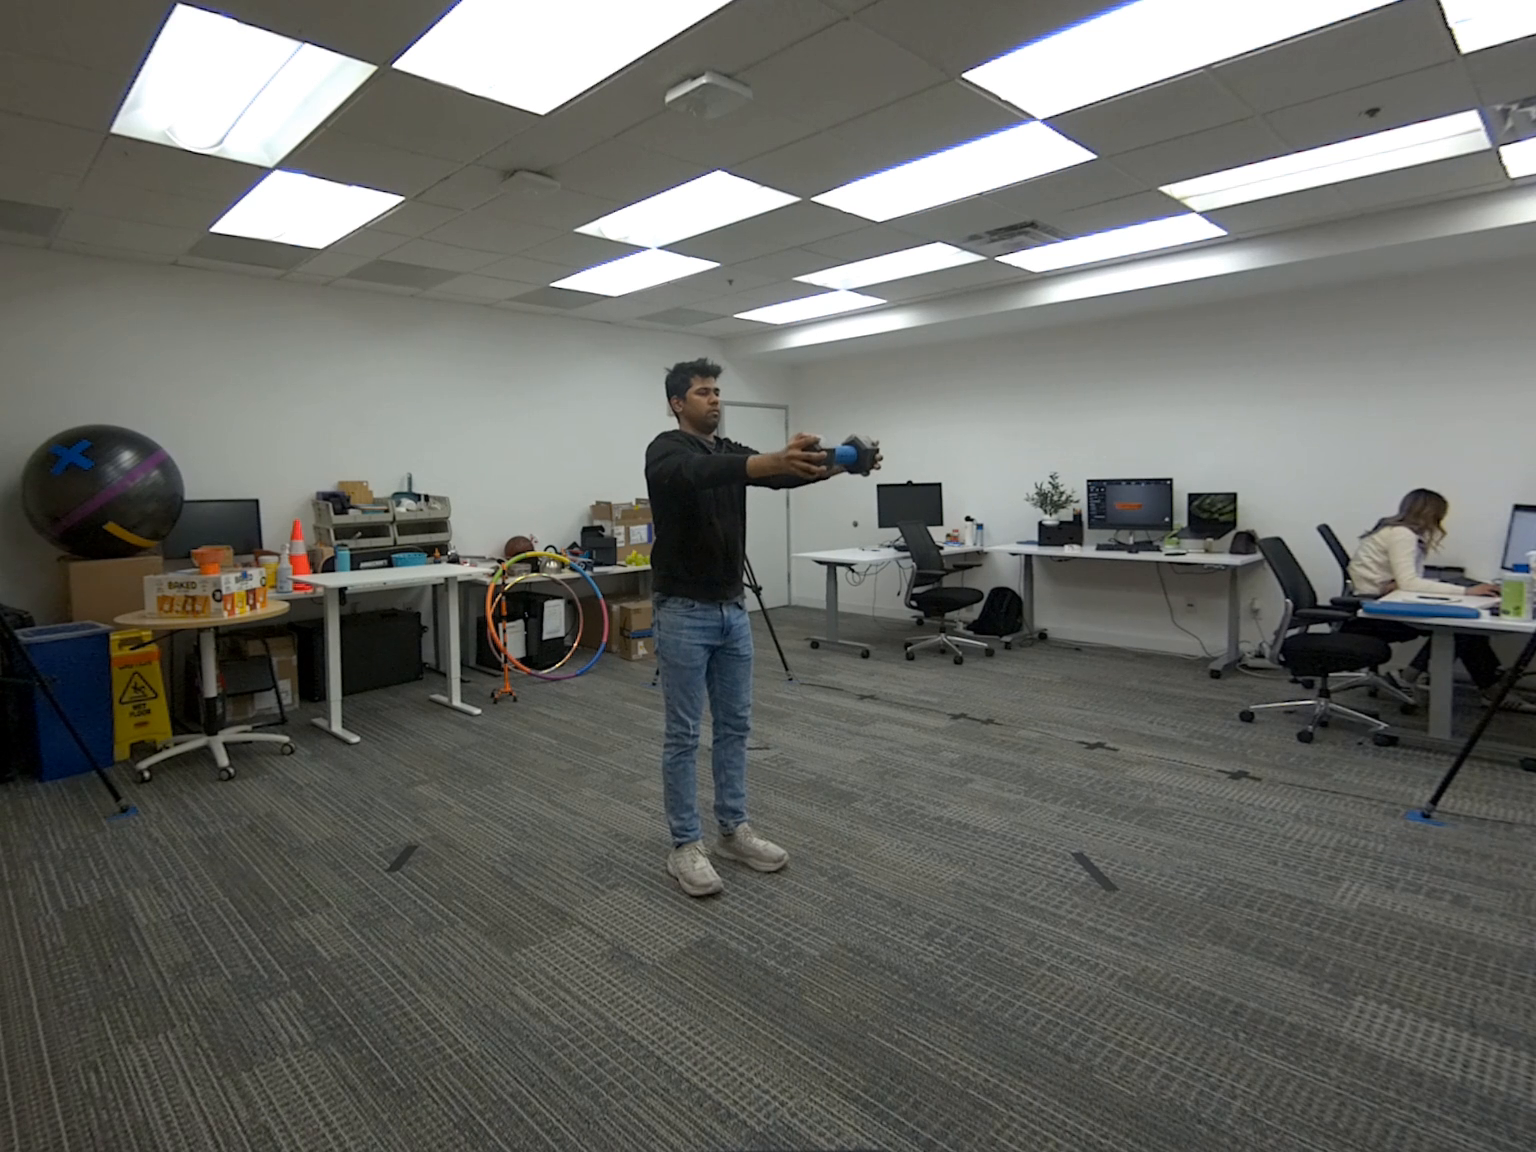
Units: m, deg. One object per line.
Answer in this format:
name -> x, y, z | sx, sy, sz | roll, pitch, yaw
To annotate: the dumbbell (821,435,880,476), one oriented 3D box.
dumbbell -> 0.200, -0.368, 2.617 | 0.286, 0.121, 0.113 | -9, 23, -41
